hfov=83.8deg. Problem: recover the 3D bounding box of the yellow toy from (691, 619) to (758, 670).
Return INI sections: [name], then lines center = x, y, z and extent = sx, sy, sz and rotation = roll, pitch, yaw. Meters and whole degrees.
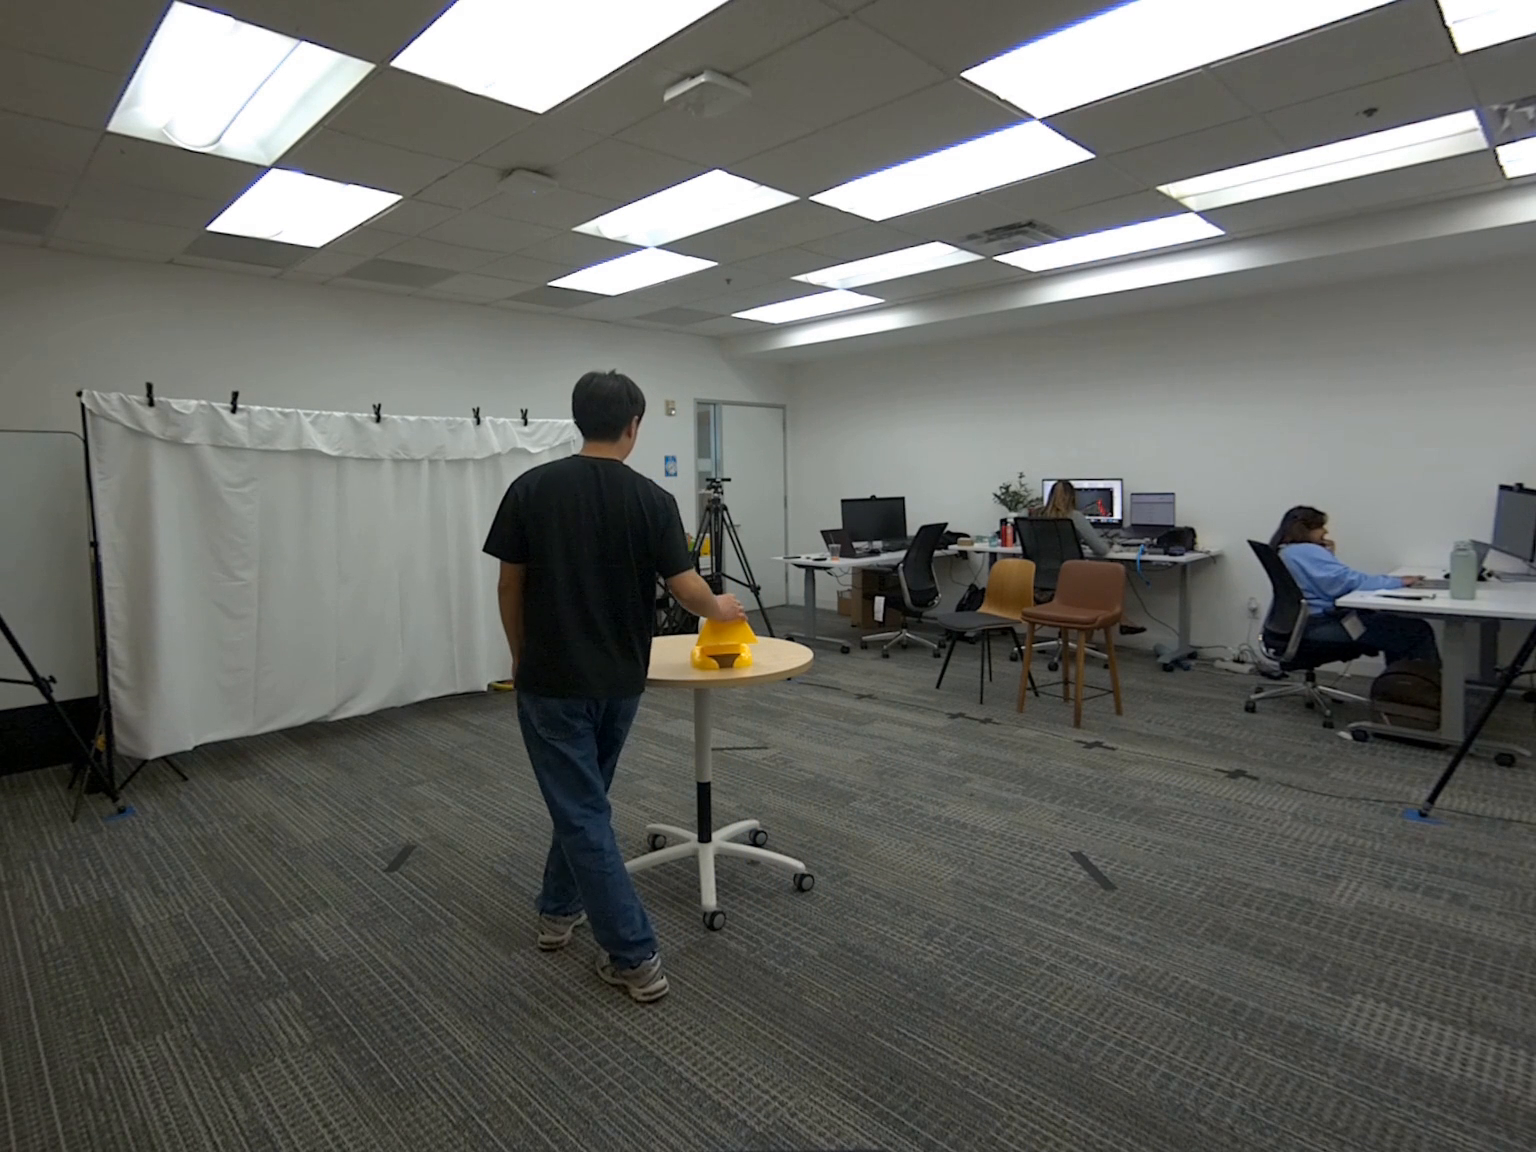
[yellow toy]
center = -0.152, 0.170, 2.767
extent = 0.202, 0.229, 0.196
rotation = -3, 6, -14
